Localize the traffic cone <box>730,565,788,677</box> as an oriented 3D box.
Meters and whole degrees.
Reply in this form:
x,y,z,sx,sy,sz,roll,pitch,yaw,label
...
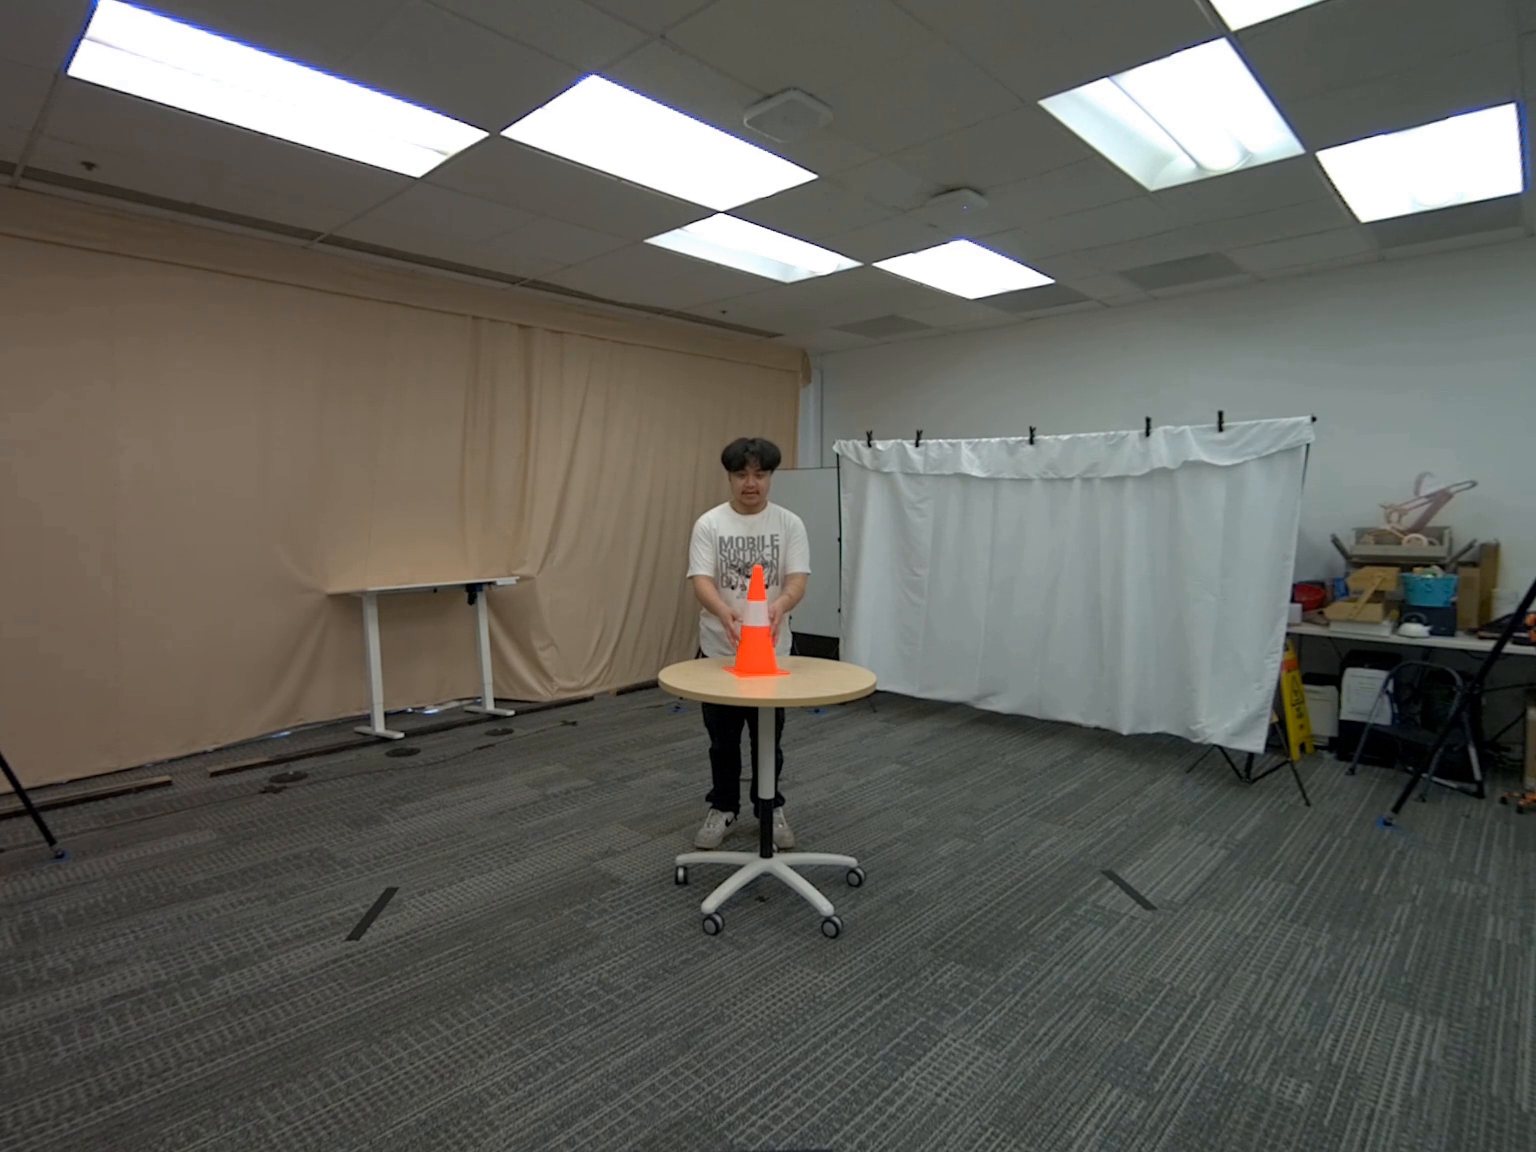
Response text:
x,y,z,sx,sy,sz,roll,pitch,yaw,label
-0.038,0.156,3.039,0.200,0.383,0.209,1,3,-26,traffic cone
